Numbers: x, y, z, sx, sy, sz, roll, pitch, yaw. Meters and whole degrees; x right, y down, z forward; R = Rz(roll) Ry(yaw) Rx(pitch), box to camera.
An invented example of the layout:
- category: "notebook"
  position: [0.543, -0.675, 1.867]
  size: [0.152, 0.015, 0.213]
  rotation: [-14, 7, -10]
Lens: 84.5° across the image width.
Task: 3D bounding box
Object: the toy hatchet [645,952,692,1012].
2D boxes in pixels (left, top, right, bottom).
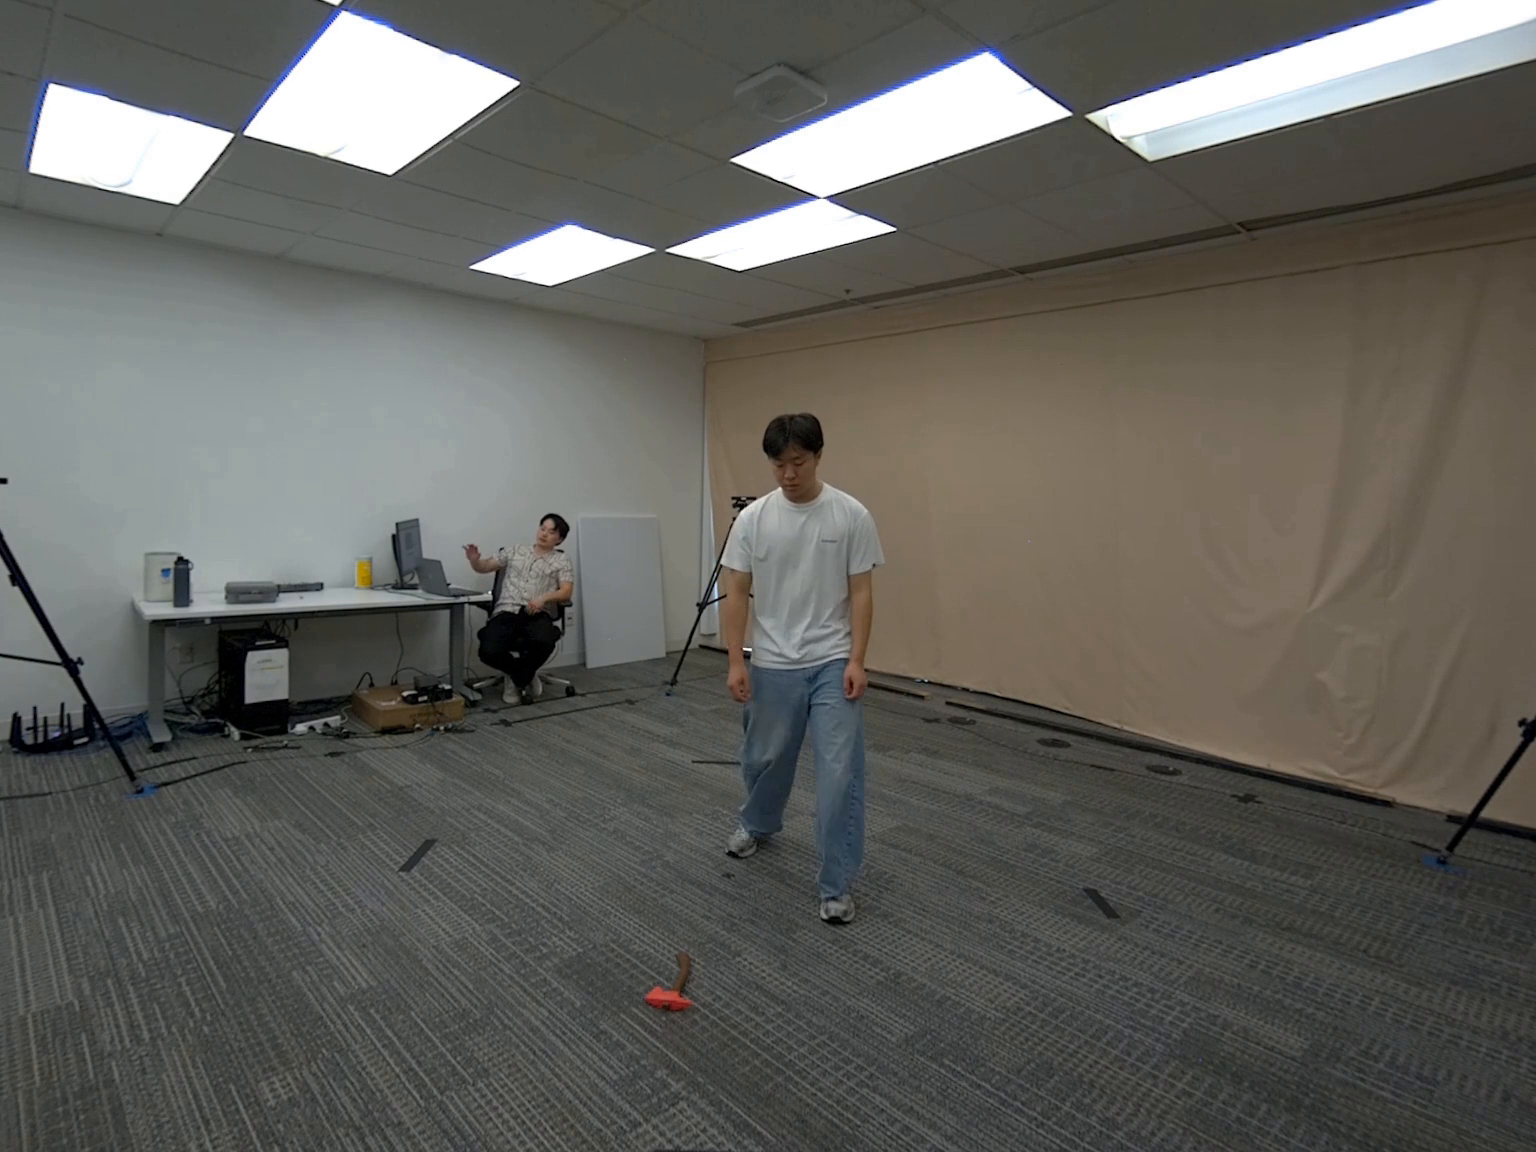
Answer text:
- category: "toy hatchet"
  position: [-0.290, 1.156, 2.402]
  size: [0.130, 0.029, 0.272]
  rotation: [-3, 3, -7]
